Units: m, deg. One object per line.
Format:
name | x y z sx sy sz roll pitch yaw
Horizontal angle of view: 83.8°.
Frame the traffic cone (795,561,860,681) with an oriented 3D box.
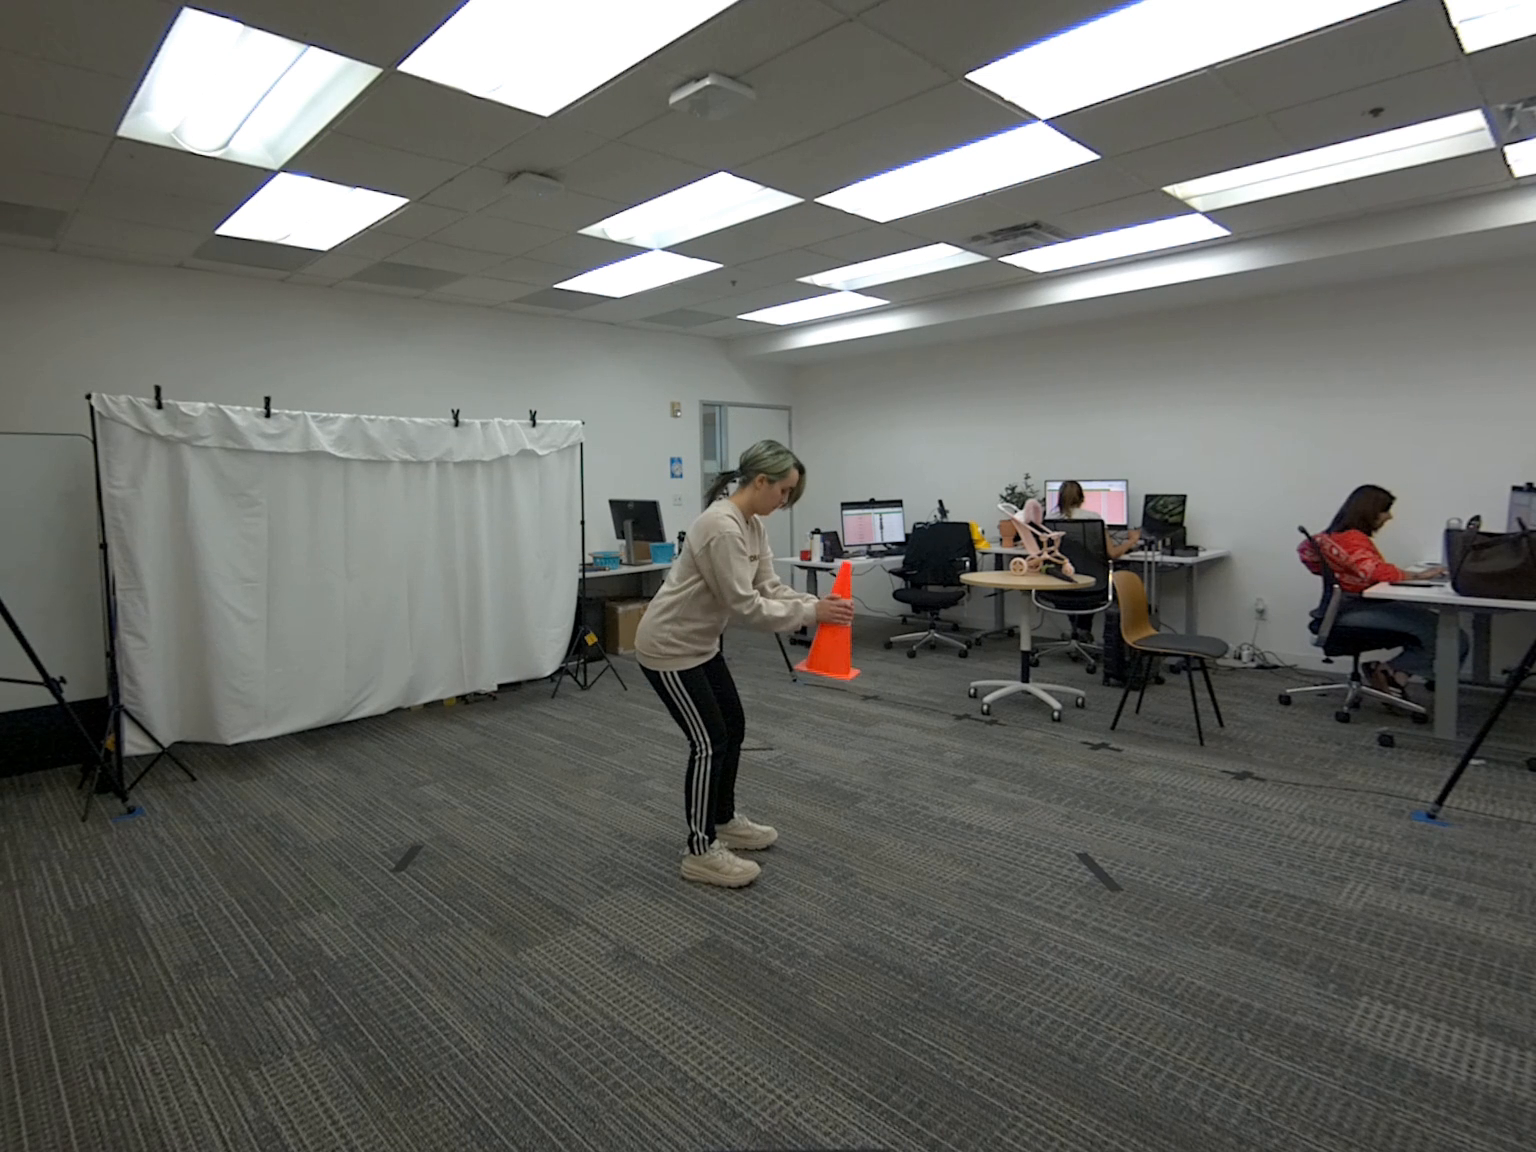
traffic cone | 0.236 0.144 2.934 0.208 0.382 0.201 11 6 19
